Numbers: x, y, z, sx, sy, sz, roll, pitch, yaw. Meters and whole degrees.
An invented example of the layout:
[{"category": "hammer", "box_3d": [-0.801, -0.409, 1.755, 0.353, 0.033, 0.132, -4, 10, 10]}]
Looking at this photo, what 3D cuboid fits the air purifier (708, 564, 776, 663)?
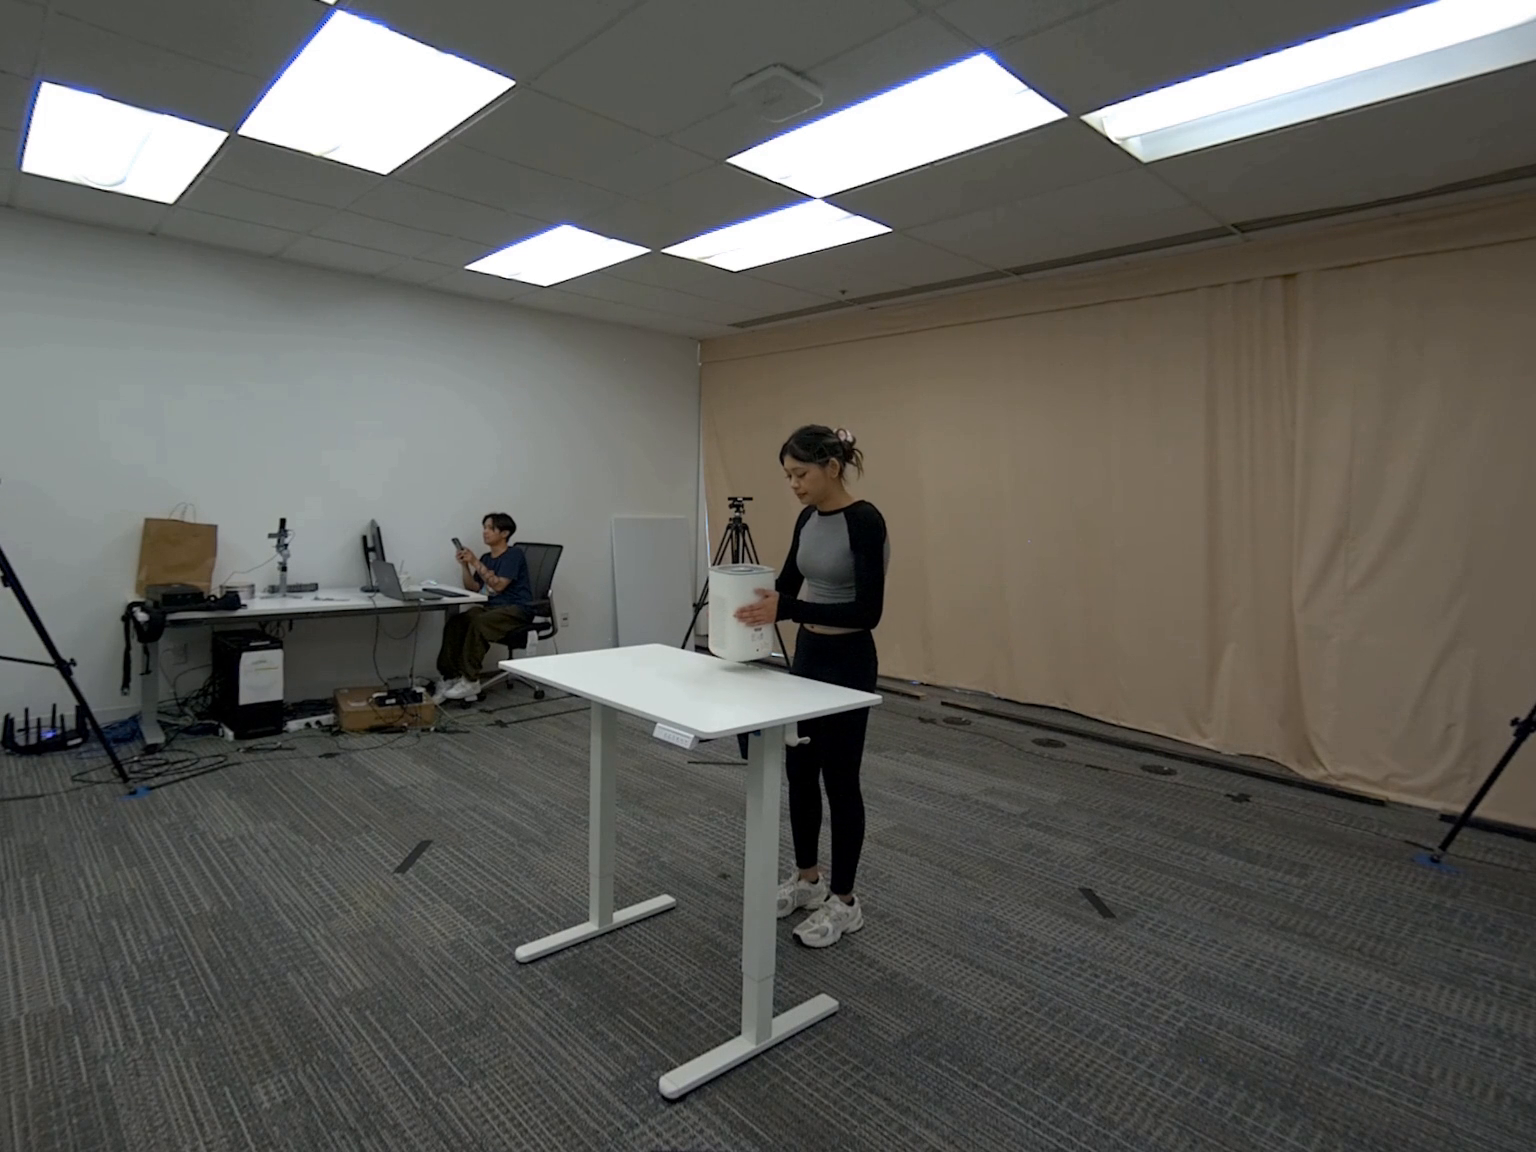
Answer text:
[{"category": "air purifier", "box_3d": [-0.078, 0.108, 2.512, 0.167, 0.264, 0.176, -5, 9, -38]}]
